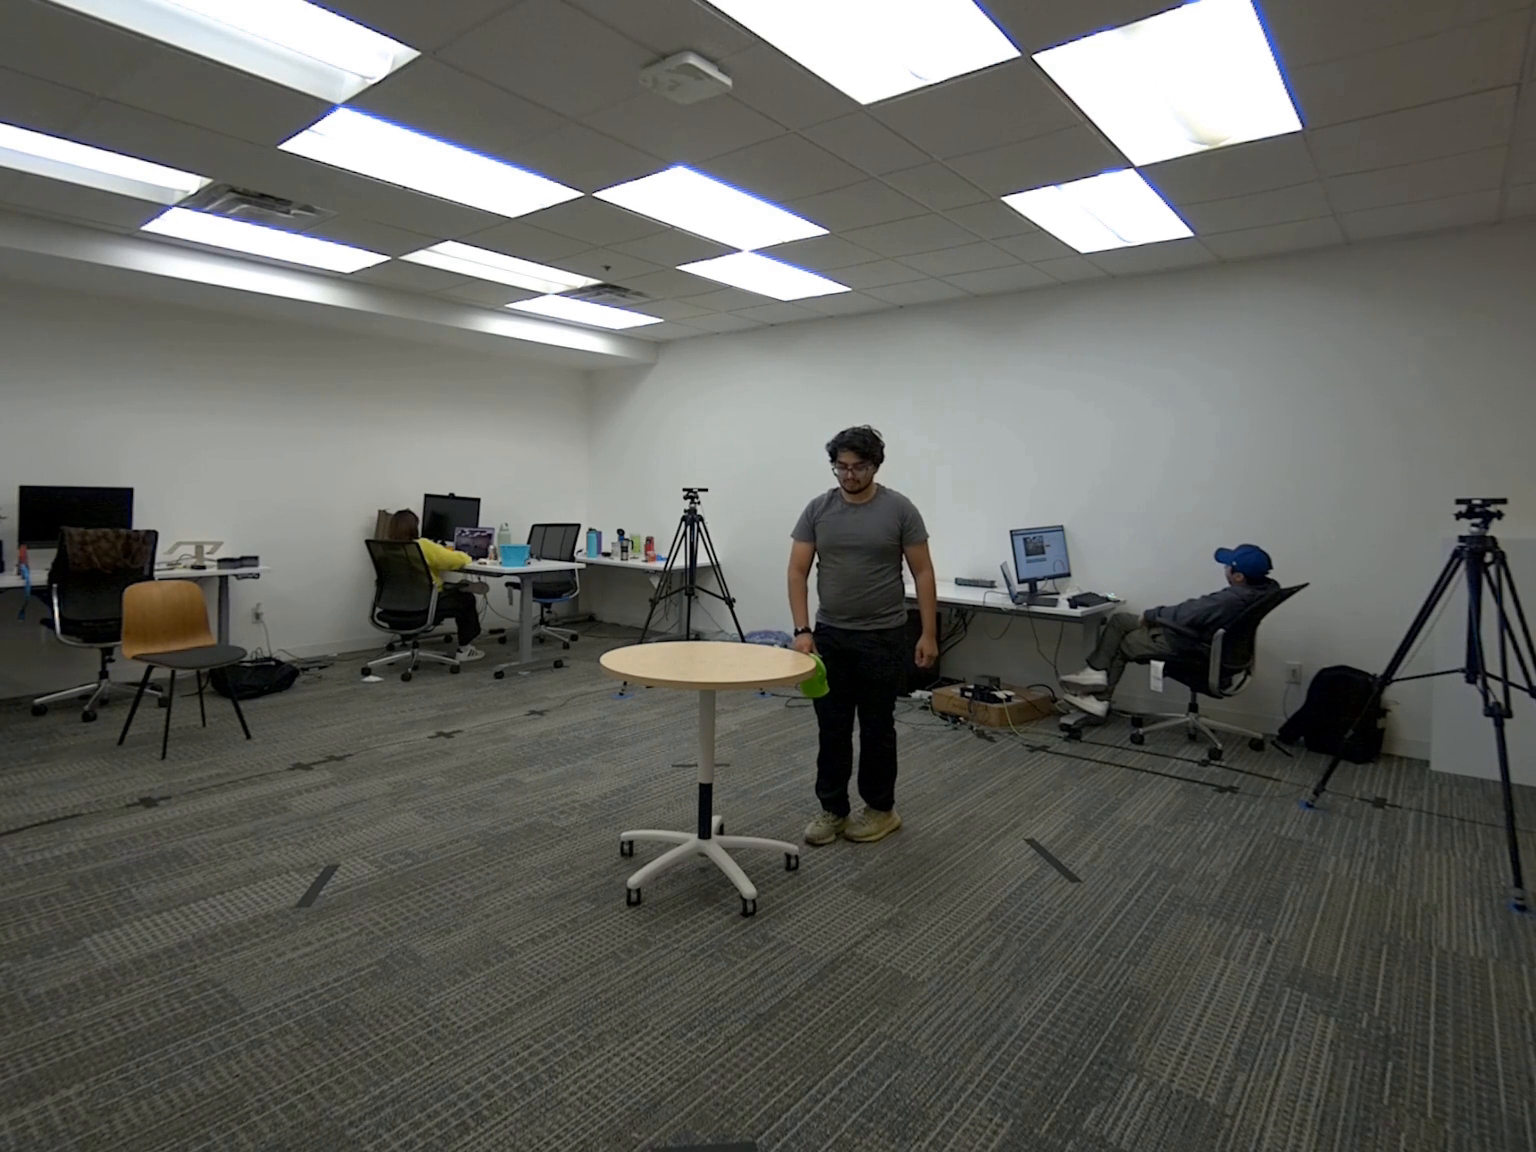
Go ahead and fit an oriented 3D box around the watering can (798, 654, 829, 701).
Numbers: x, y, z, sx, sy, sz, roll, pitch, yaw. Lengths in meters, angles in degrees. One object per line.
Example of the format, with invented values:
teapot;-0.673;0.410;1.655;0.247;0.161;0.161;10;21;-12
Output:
watering can;0.131;0.372;3.348;0.096;0.175;0.286;-19;10;-28
